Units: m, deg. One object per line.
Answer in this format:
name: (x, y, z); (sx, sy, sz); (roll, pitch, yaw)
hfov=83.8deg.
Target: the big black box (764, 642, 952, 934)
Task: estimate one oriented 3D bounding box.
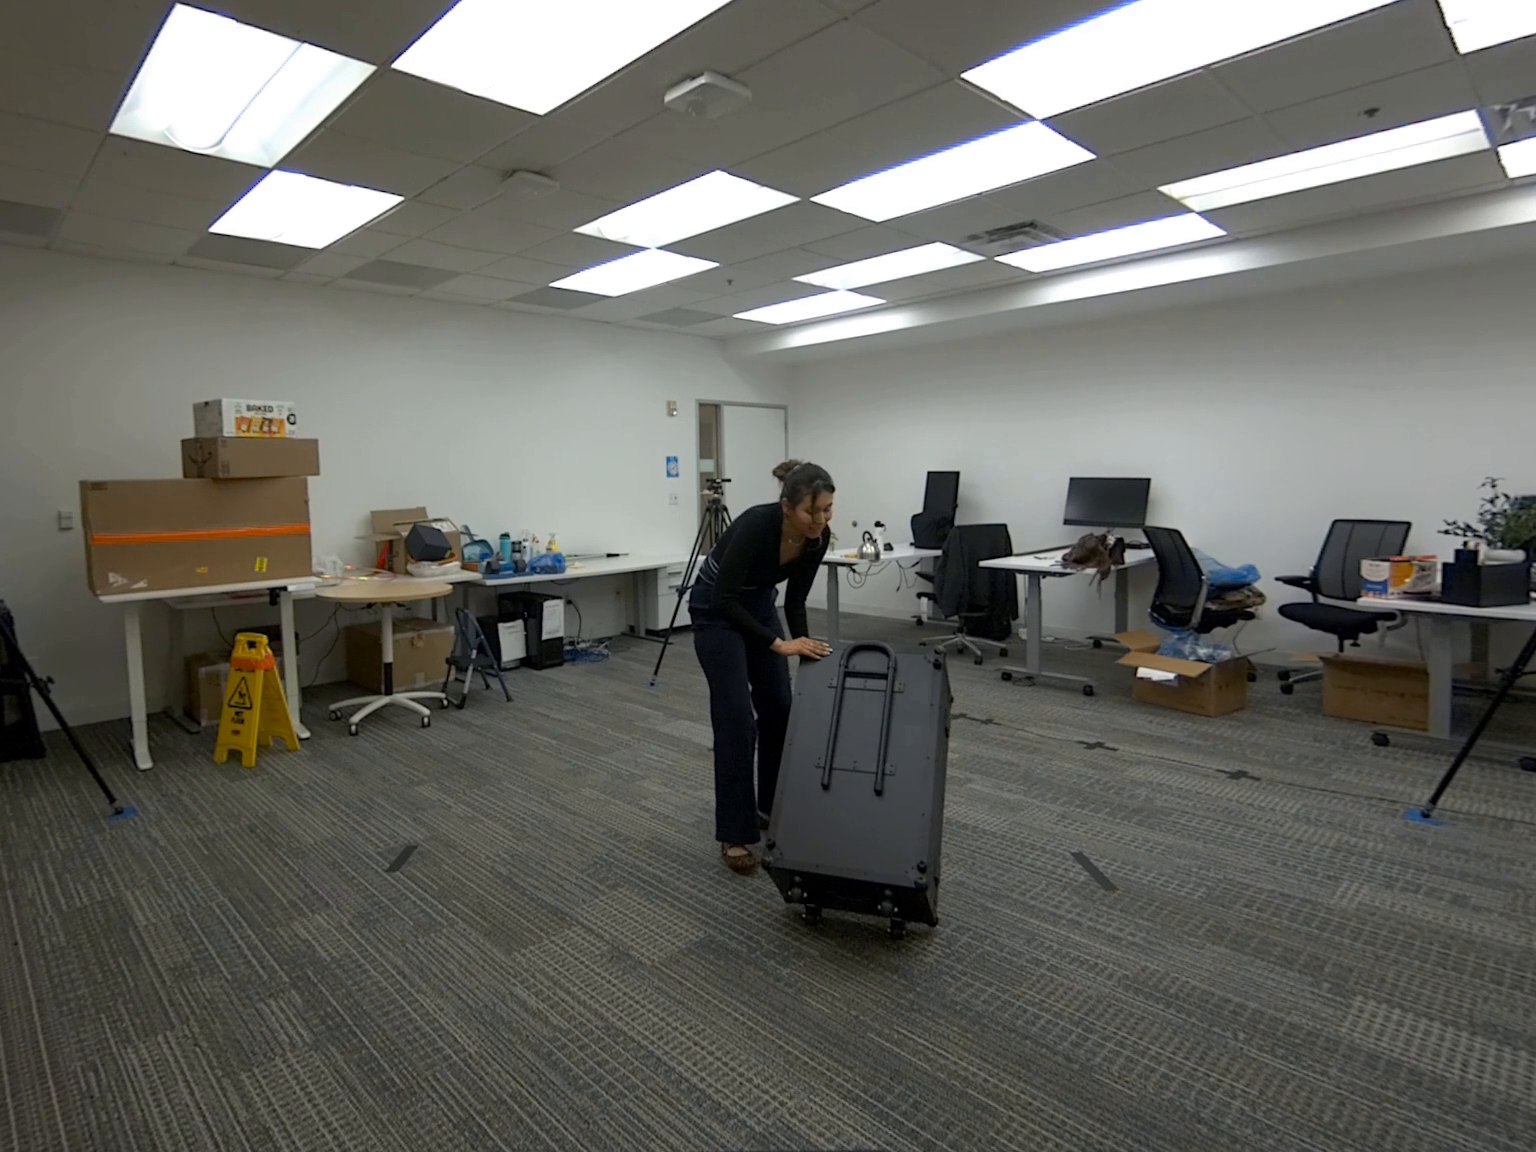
big black box: (0.322, 0.671, 2.762); (0.531, 0.877, 0.382); (0, -36, 19)
